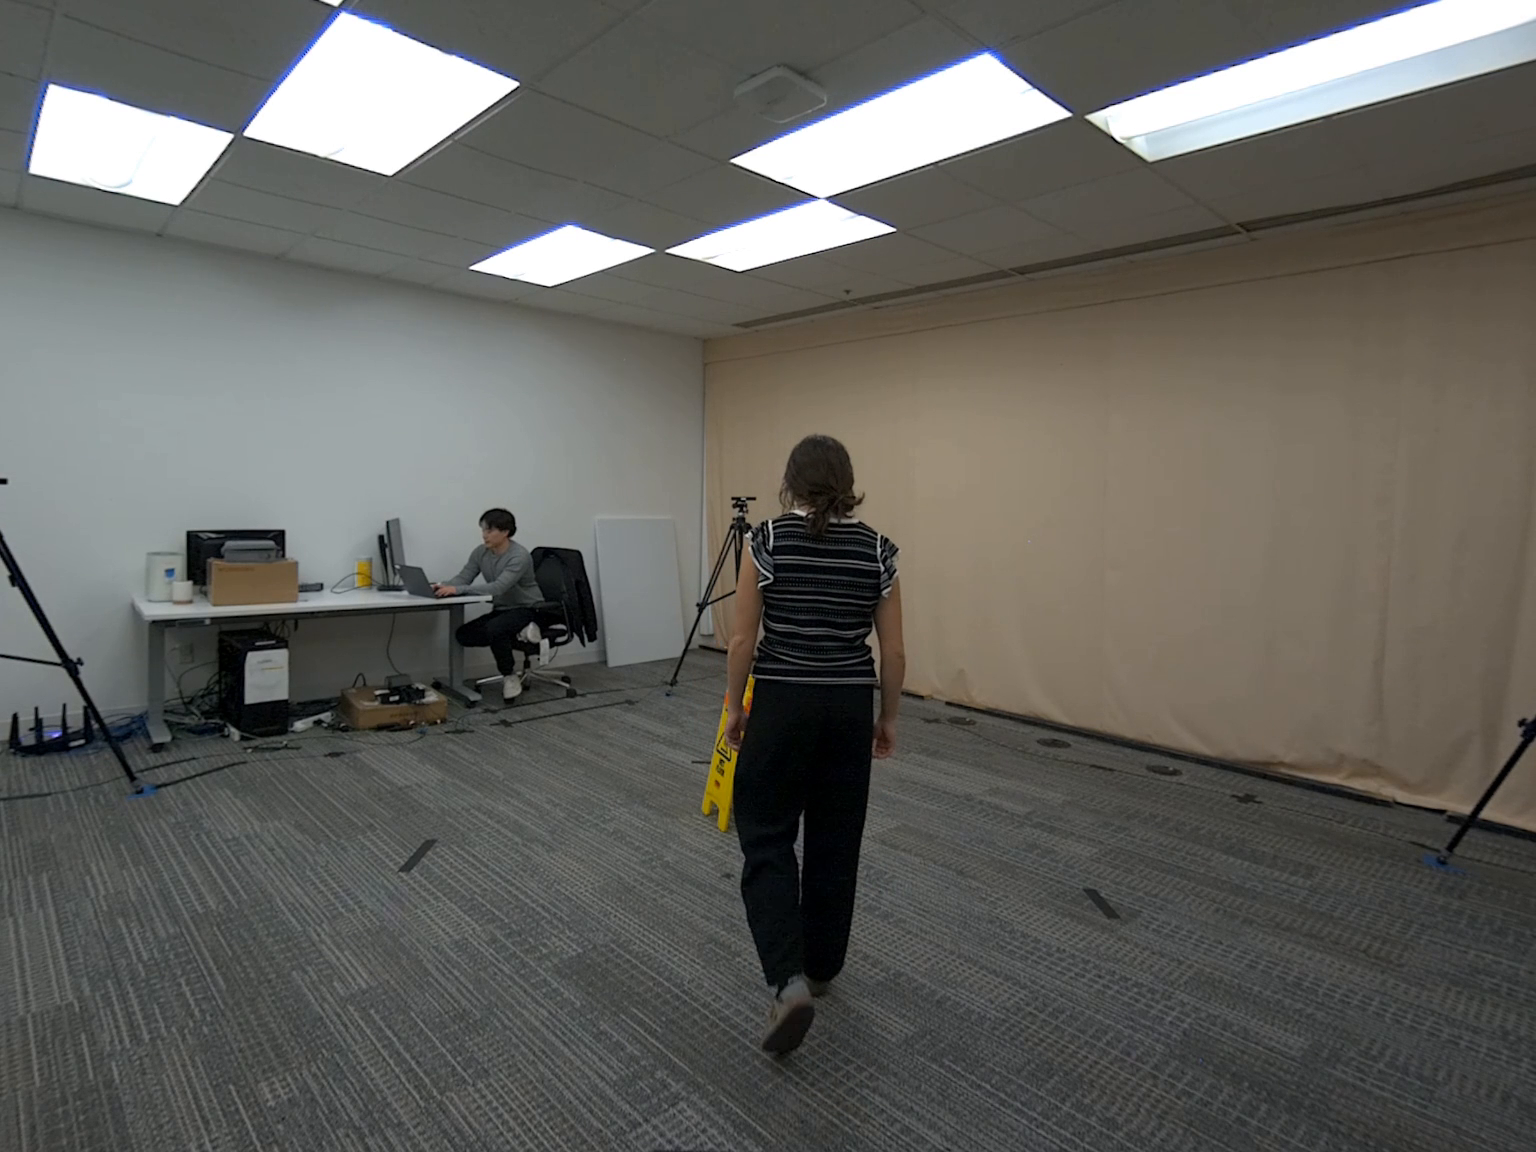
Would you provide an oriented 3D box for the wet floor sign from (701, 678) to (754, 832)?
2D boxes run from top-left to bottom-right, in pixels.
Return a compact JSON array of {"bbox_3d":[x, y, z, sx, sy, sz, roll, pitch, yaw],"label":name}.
[{"bbox_3d":[-0.126,0.736,3.667,0.285,0.645,0.287,1,2,-21],"label":"wet floor sign"}]
